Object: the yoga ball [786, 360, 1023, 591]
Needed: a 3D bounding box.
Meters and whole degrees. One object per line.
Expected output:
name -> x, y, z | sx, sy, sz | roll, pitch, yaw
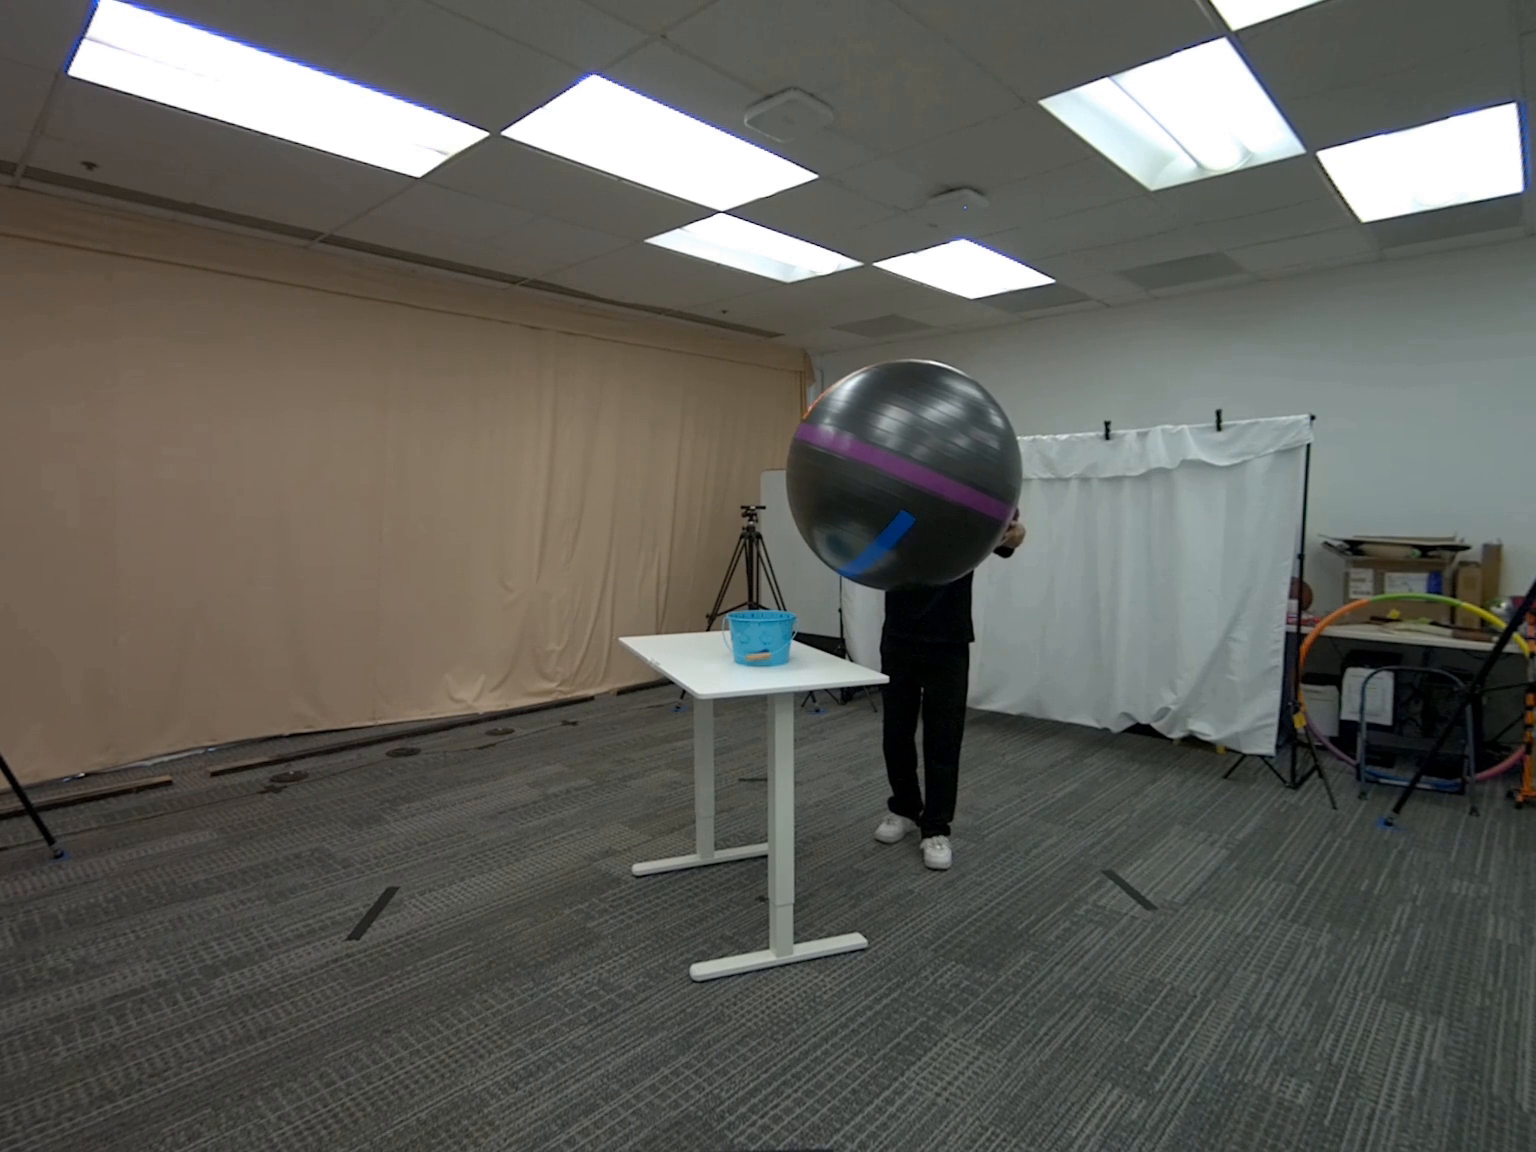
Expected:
yoga ball -> 0.454, -0.327, 2.791 | 0.757, 0.756, 0.760 | 0, 4, -2
